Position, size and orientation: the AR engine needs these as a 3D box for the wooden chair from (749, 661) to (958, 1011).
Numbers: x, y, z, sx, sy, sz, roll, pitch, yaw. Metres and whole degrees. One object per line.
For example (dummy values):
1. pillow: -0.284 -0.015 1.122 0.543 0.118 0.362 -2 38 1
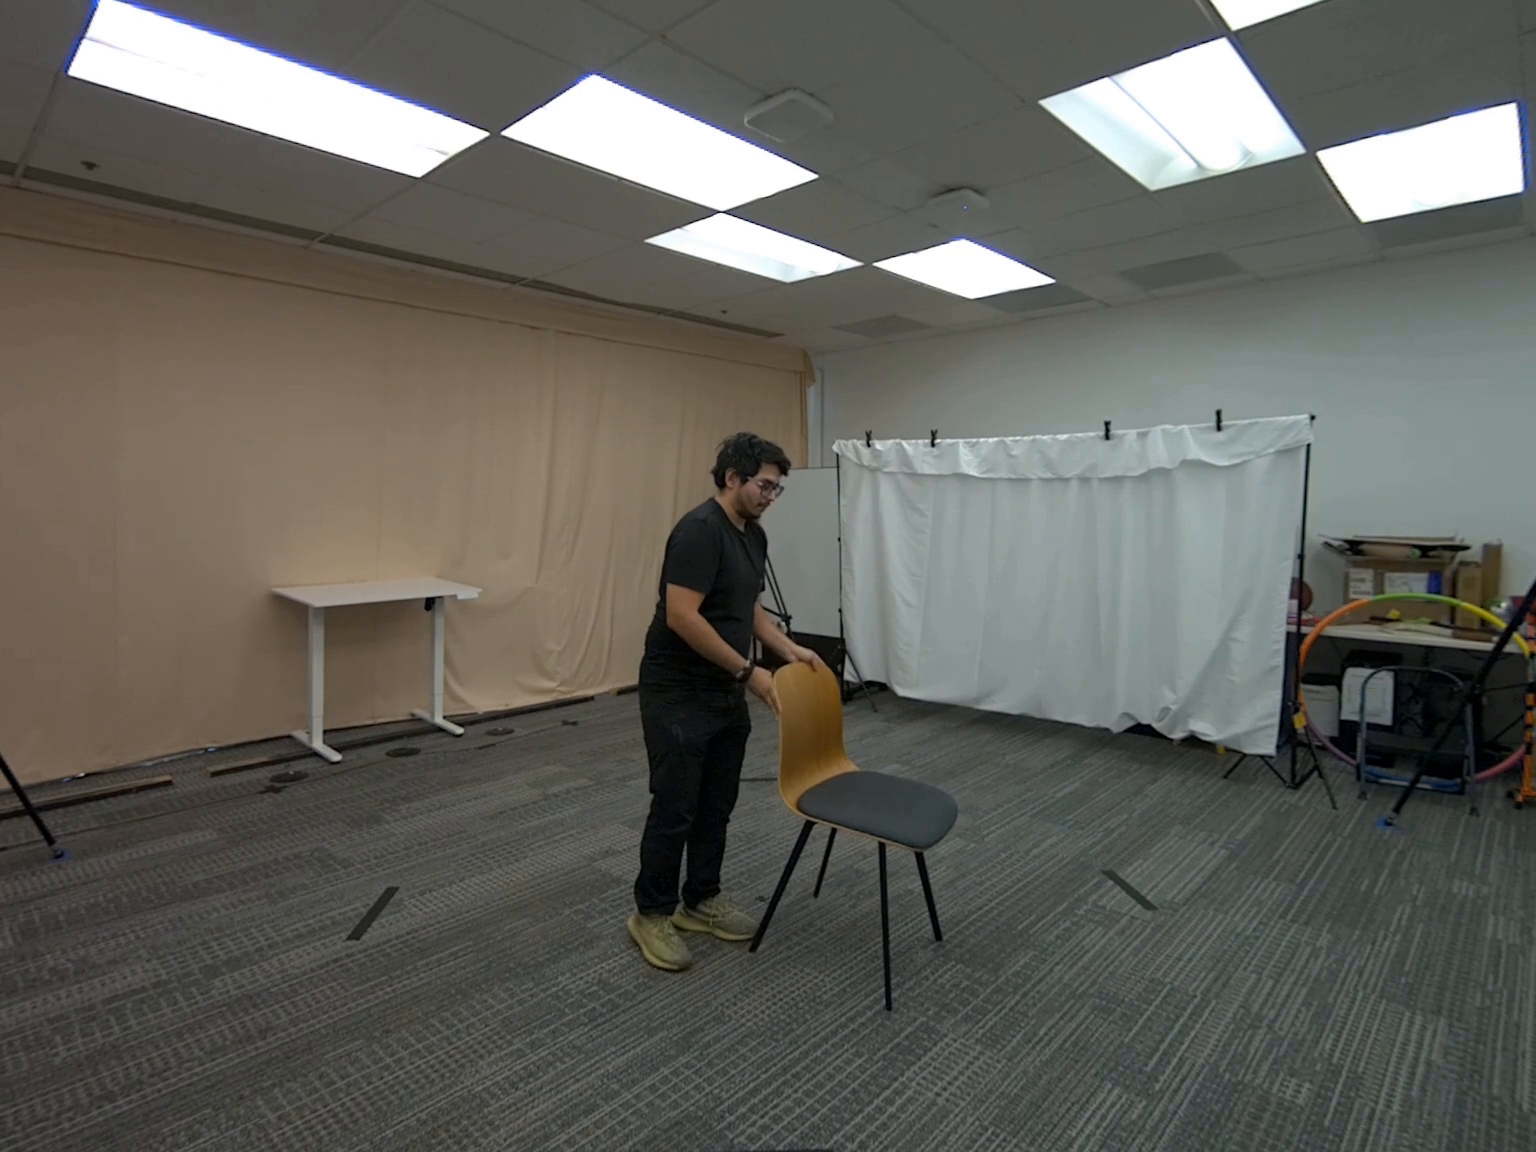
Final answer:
1. wooden chair: 0.296 0.735 2.571 0.539 0.875 0.465 3 4 31
